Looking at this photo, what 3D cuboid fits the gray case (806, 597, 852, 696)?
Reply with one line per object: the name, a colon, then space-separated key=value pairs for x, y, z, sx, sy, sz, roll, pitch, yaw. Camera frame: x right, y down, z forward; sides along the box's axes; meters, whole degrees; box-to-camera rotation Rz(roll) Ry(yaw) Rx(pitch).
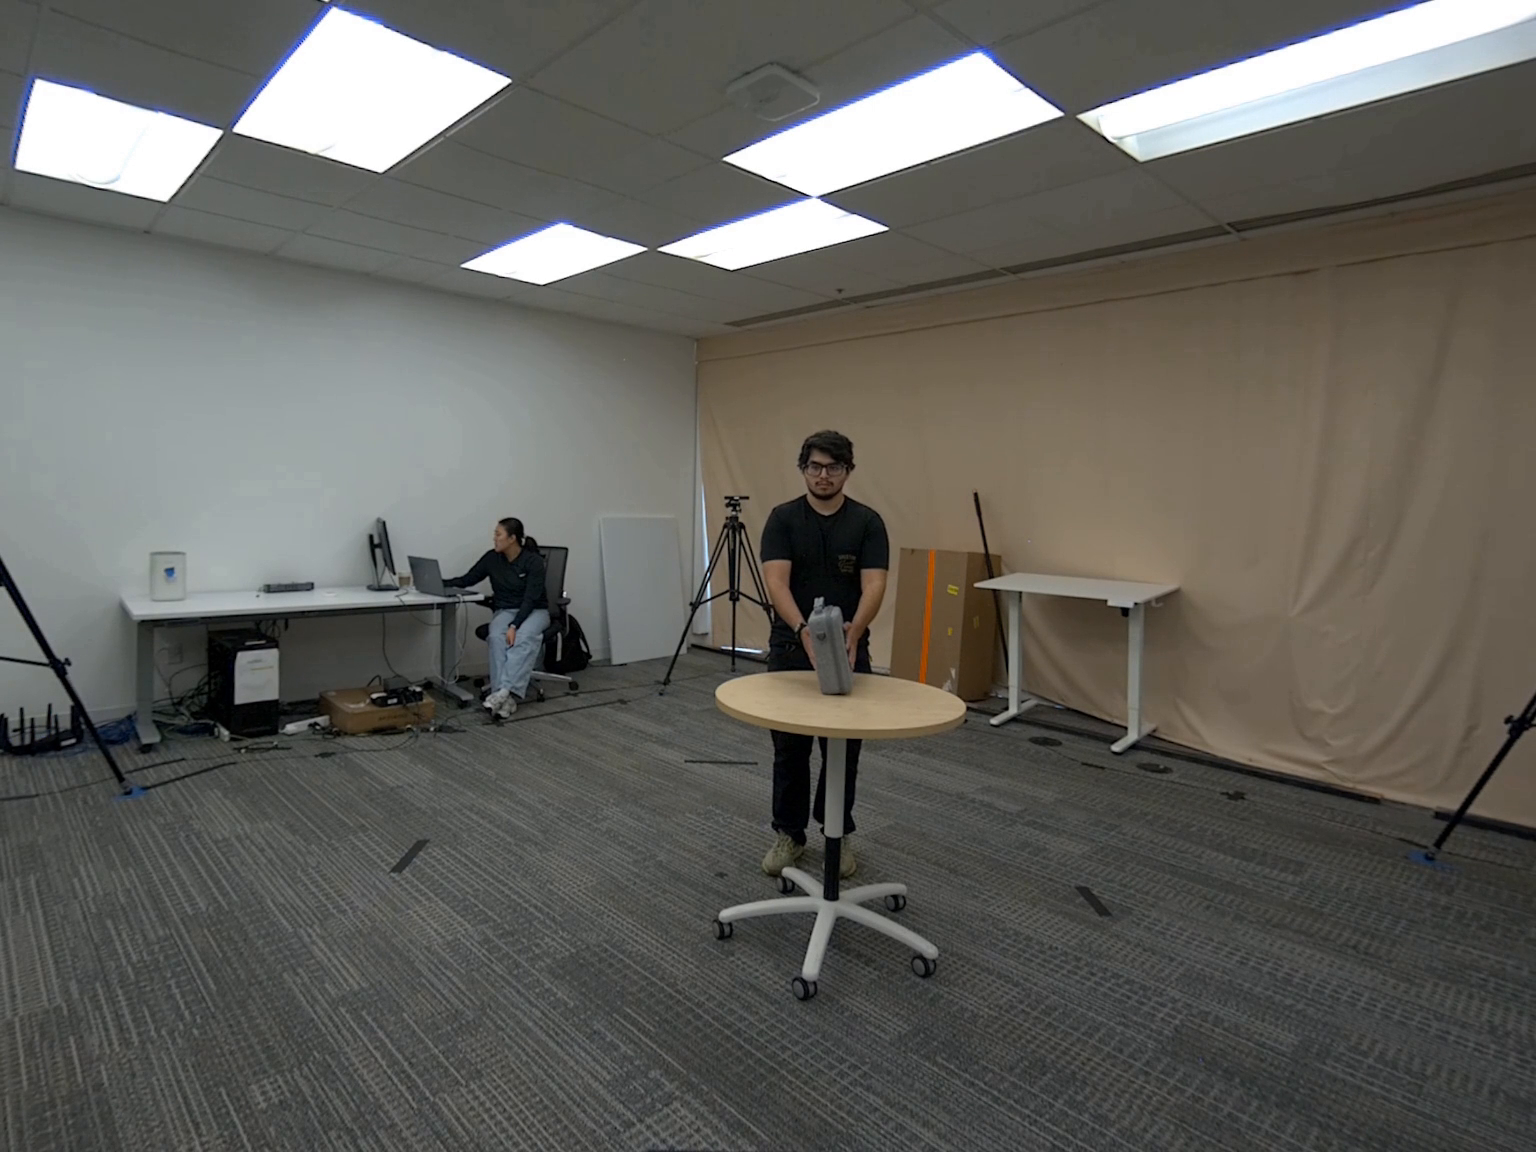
gray case: x=0.197 y=0.234 z=2.717 sx=0.105 sy=0.260 sz=0.256 roll=-7 pitch=2 yaw=7
